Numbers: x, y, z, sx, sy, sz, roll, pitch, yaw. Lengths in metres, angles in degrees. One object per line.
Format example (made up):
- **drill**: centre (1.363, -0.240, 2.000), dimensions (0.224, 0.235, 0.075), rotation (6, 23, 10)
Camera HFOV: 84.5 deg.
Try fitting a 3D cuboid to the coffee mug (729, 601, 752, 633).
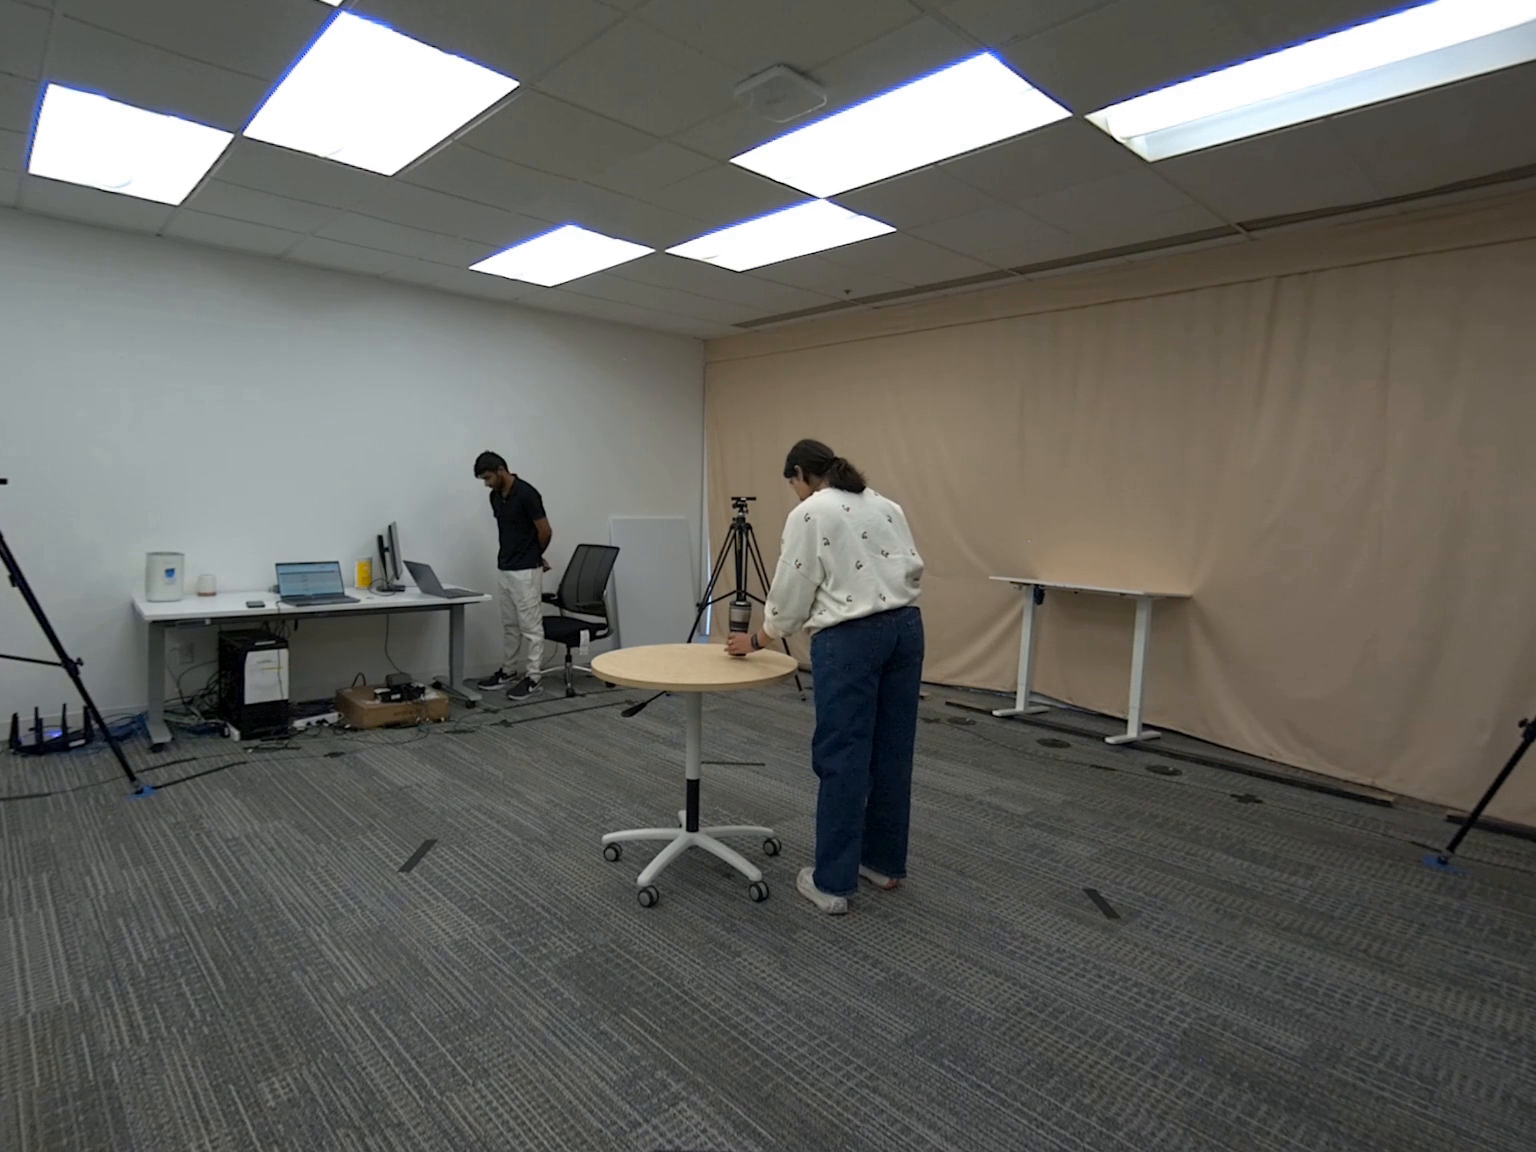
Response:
- **coffee mug**: centre (-0.102, 0.198, 3.228), dimensions (0.089, 0.202, 0.121), rotation (5, 9, 19)
